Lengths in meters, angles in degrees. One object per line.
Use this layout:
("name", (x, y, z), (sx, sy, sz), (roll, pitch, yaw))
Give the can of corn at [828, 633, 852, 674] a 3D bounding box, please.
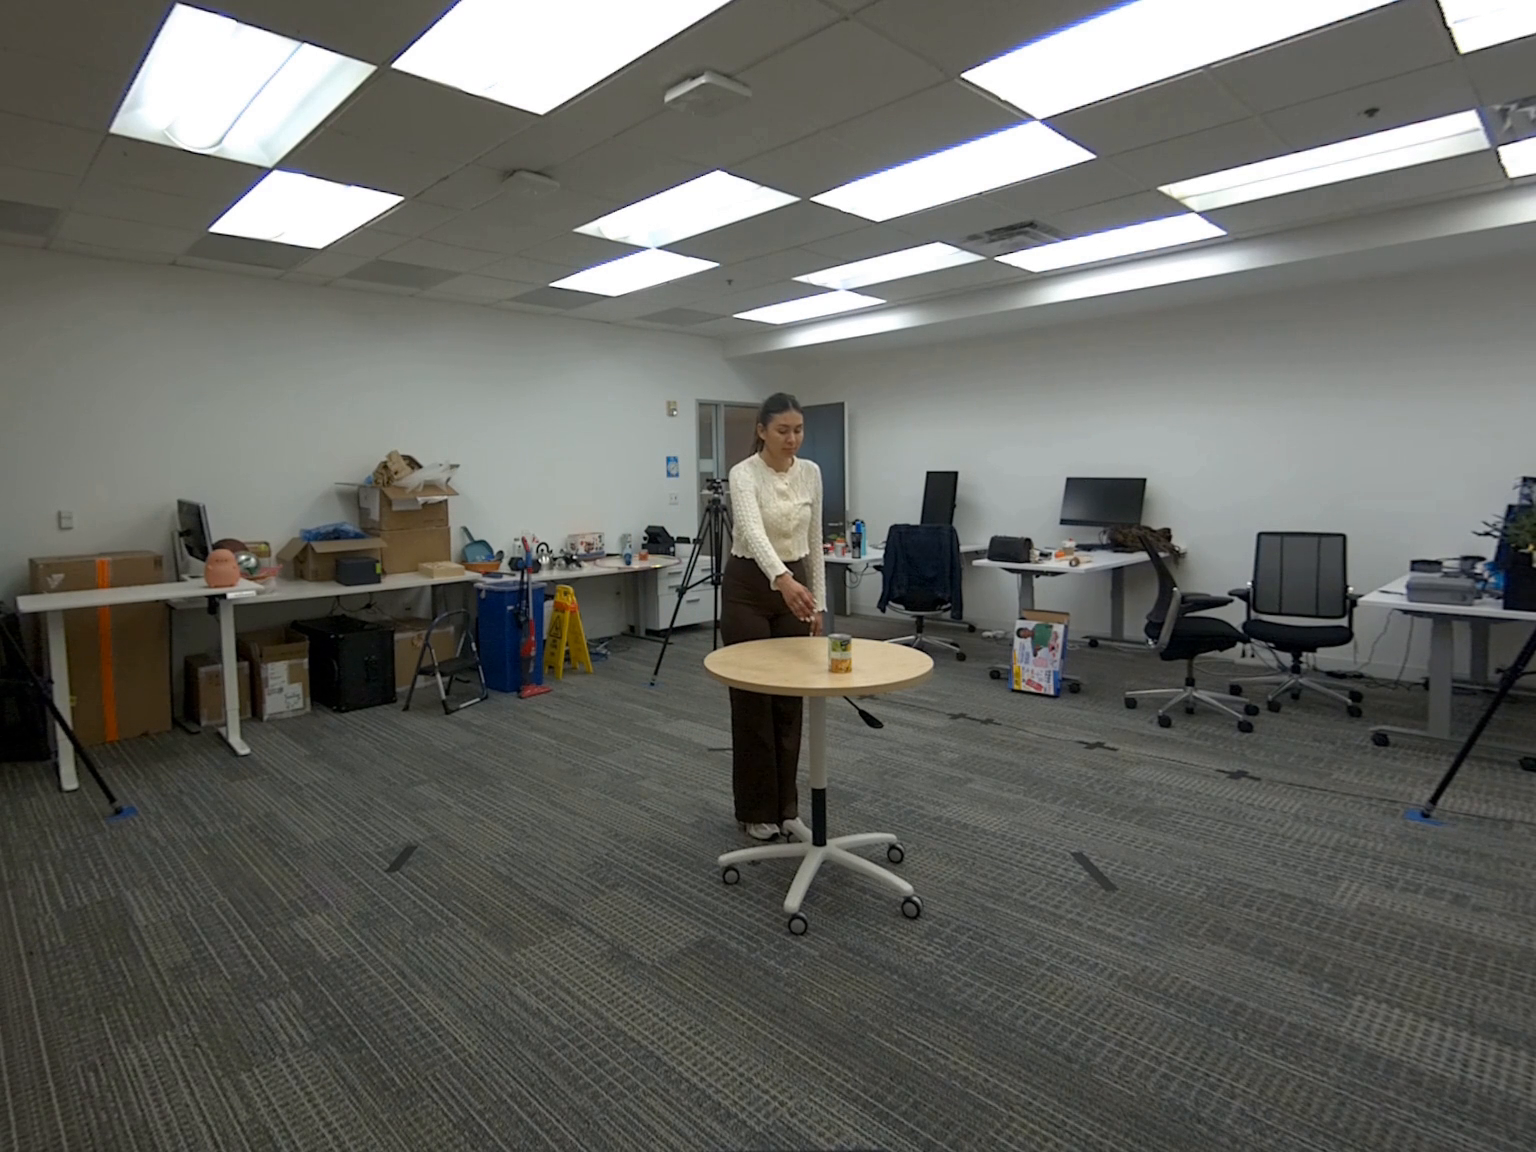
("can of corn", (0.231, 0.248, 2.715), (0.074, 0.110, 0.074), (-1, 4, -2))
